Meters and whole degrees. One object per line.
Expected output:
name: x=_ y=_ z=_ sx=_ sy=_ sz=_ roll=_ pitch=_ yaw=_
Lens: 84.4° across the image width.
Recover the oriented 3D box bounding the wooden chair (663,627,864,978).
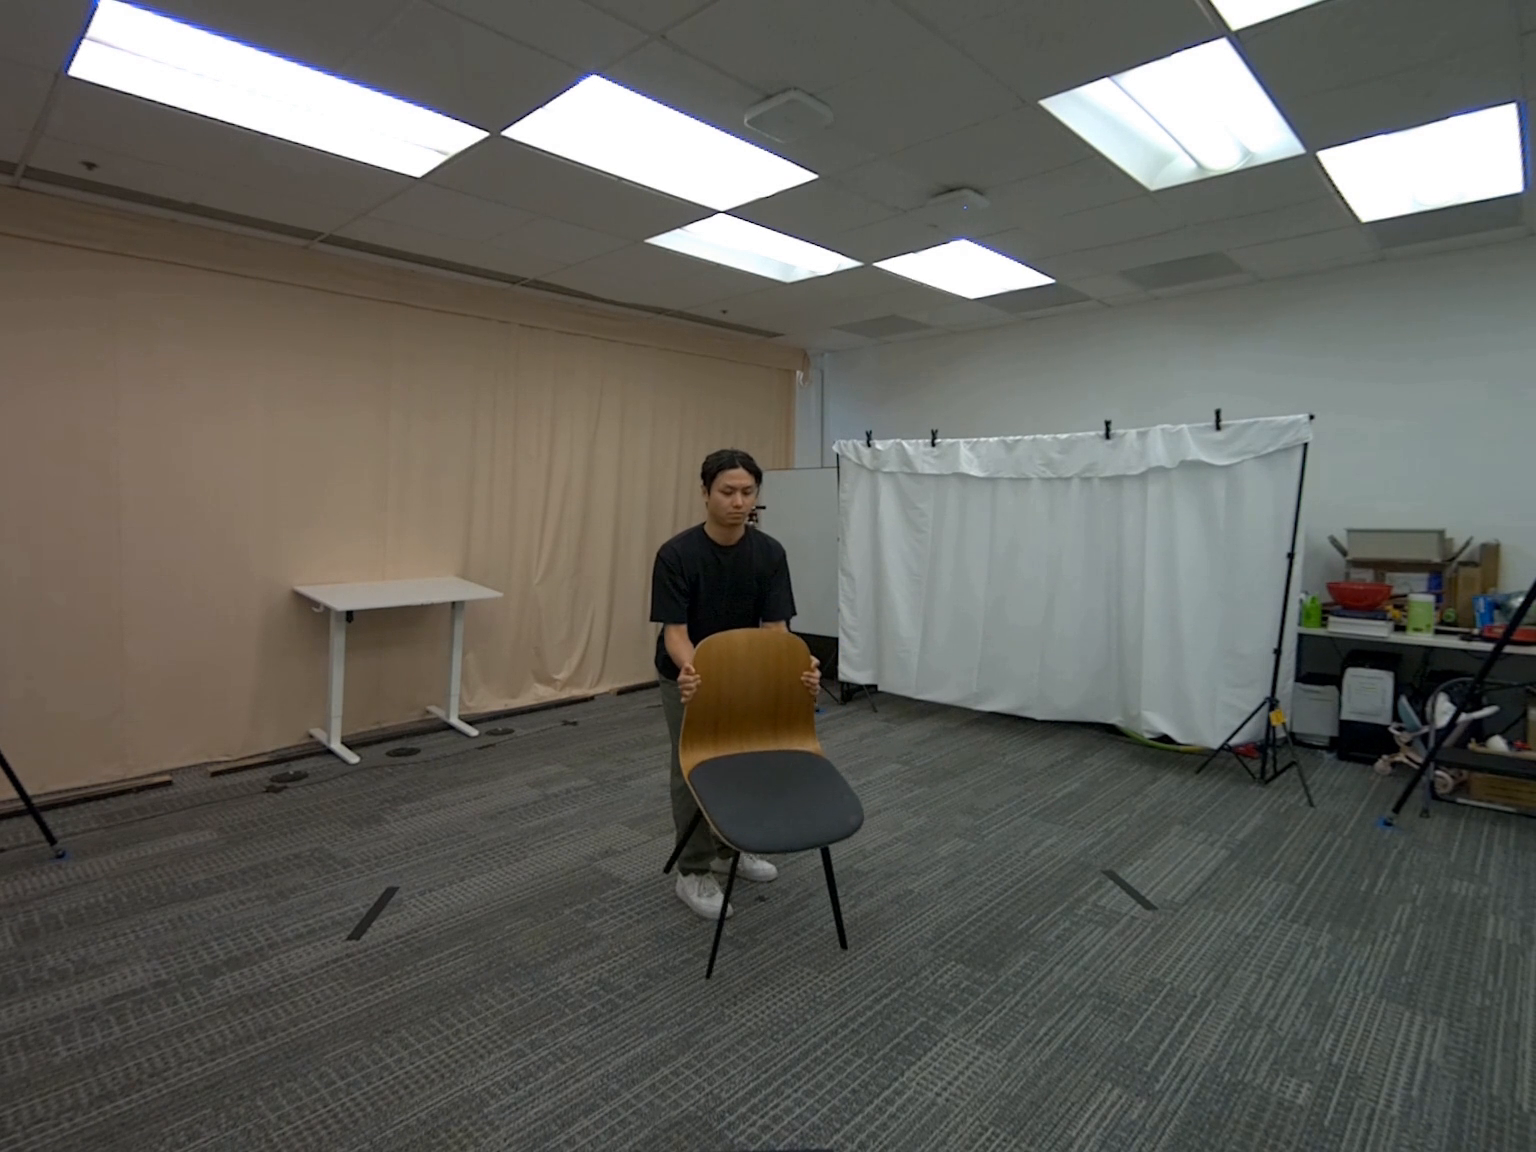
wooden chair: x=0.010 y=0.664 z=2.516 sx=0.468 sy=0.870 sz=0.538 roll=-2 pitch=16 yaw=-22
